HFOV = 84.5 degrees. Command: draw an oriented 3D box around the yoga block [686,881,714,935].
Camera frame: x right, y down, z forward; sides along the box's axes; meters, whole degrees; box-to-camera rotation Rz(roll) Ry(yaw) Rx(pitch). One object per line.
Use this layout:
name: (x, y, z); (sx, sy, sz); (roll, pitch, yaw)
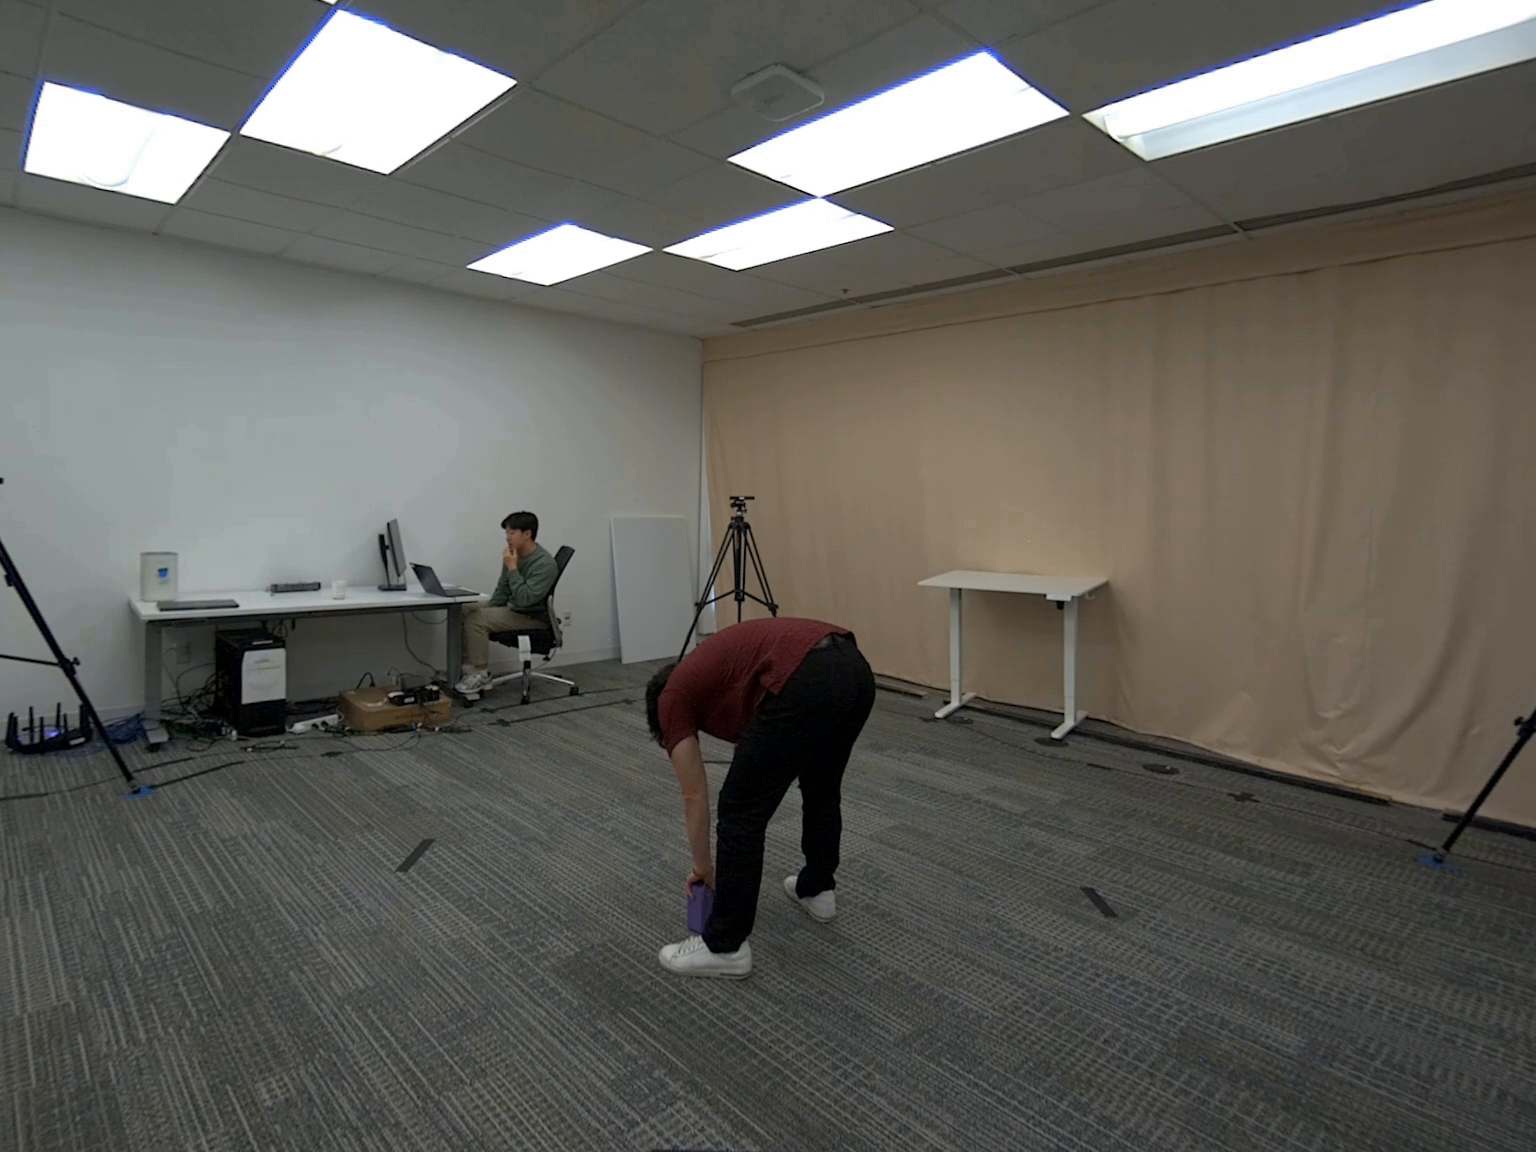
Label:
yoga block: (-0.163, 1.063, 2.767); (0.078, 0.148, 0.225); (8, 8, 34)
